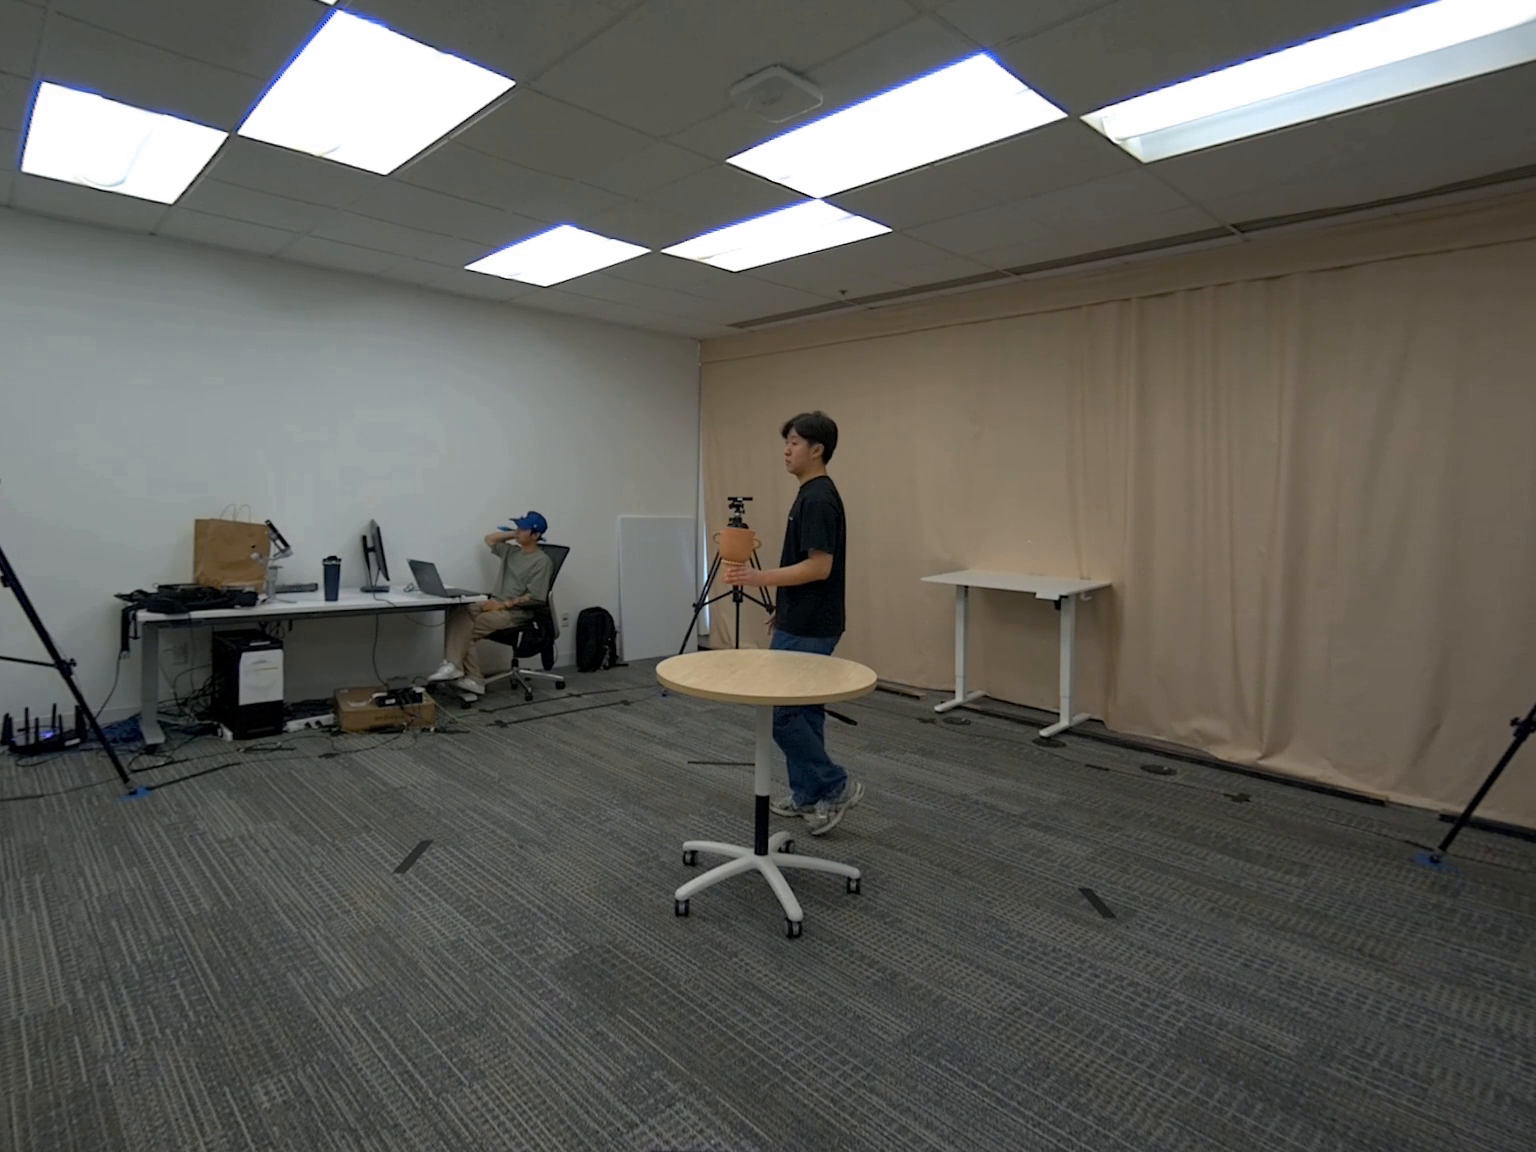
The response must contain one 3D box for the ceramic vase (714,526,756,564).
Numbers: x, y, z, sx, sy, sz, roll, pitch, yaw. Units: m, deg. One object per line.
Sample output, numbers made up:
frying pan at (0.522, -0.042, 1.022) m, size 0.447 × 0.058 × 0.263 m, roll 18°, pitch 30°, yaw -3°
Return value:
ceramic vase at (-0.140, -0.081, 3.334) m, size 0.163 × 0.219 × 0.131 m, roll 11°, pitch 4°, yaw 44°
